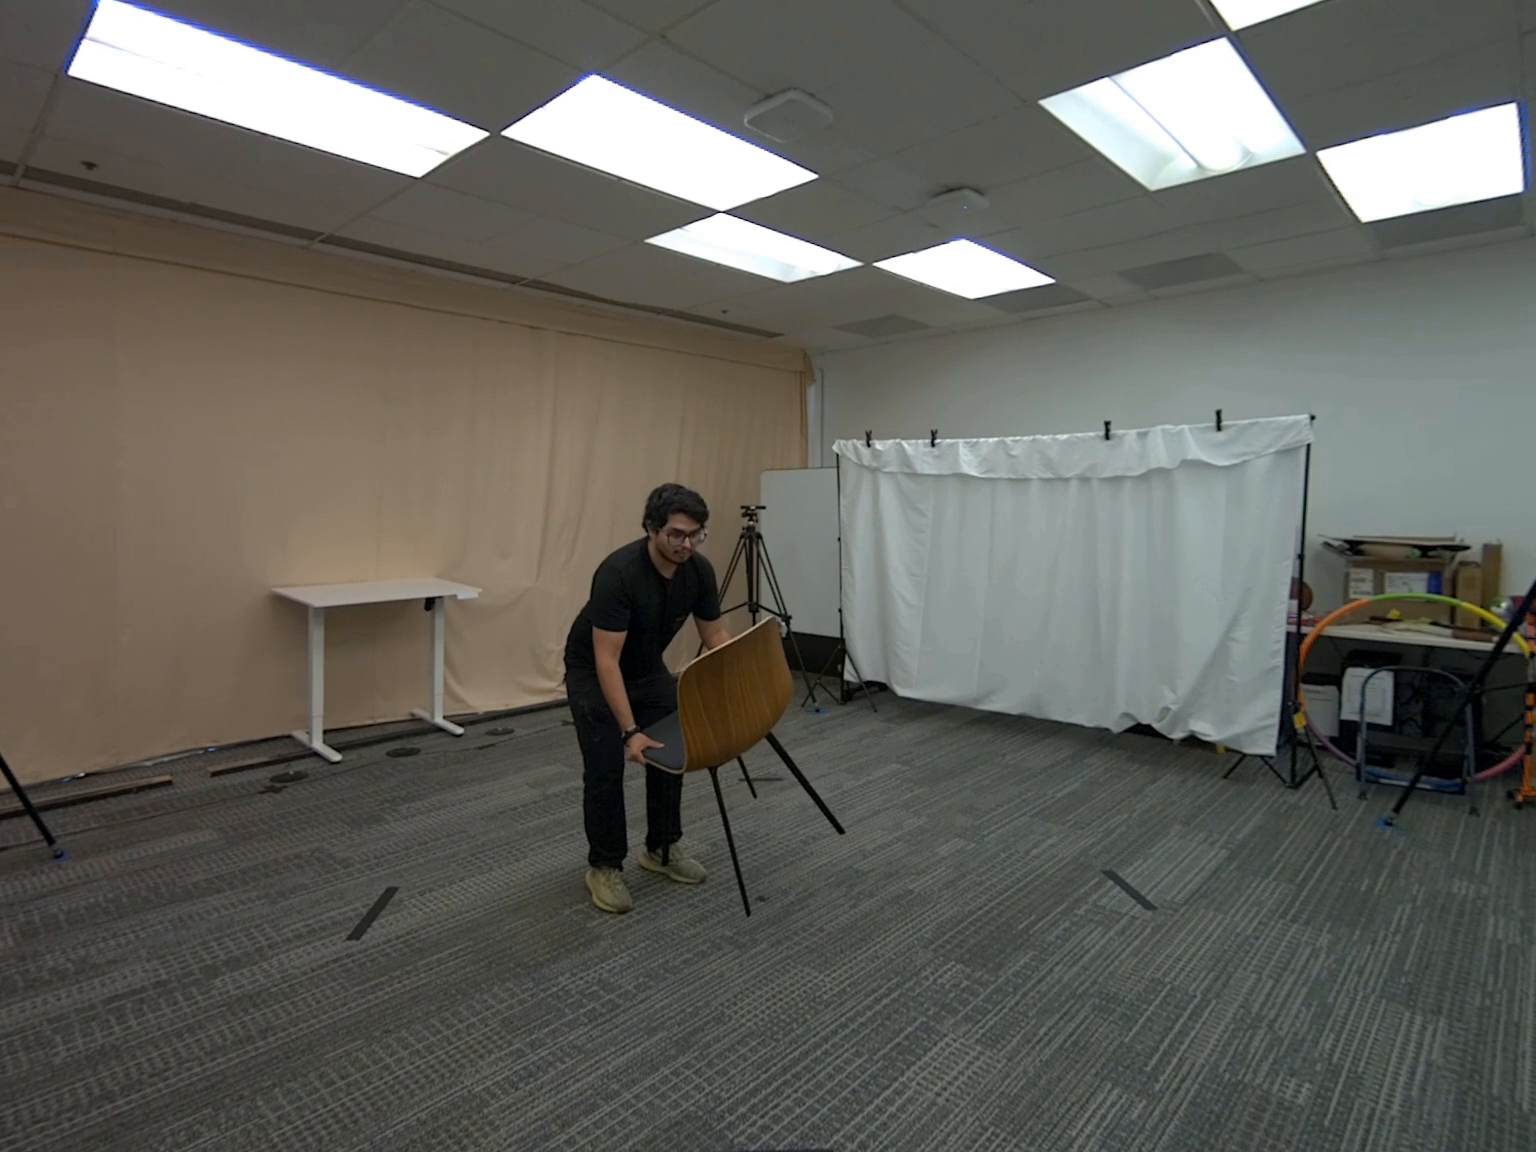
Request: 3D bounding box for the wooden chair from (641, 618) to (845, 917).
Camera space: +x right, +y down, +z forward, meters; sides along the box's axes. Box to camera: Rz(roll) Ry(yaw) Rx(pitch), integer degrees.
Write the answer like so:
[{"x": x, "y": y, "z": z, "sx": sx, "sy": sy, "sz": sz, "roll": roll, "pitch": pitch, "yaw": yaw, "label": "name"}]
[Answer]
[{"x": -0.157, "y": 0.536, "z": 2.724, "sx": 0.469, "sy": 0.864, "sz": 0.541, "roll": -27, "pitch": 24, "yaw": -36, "label": "wooden chair"}]
